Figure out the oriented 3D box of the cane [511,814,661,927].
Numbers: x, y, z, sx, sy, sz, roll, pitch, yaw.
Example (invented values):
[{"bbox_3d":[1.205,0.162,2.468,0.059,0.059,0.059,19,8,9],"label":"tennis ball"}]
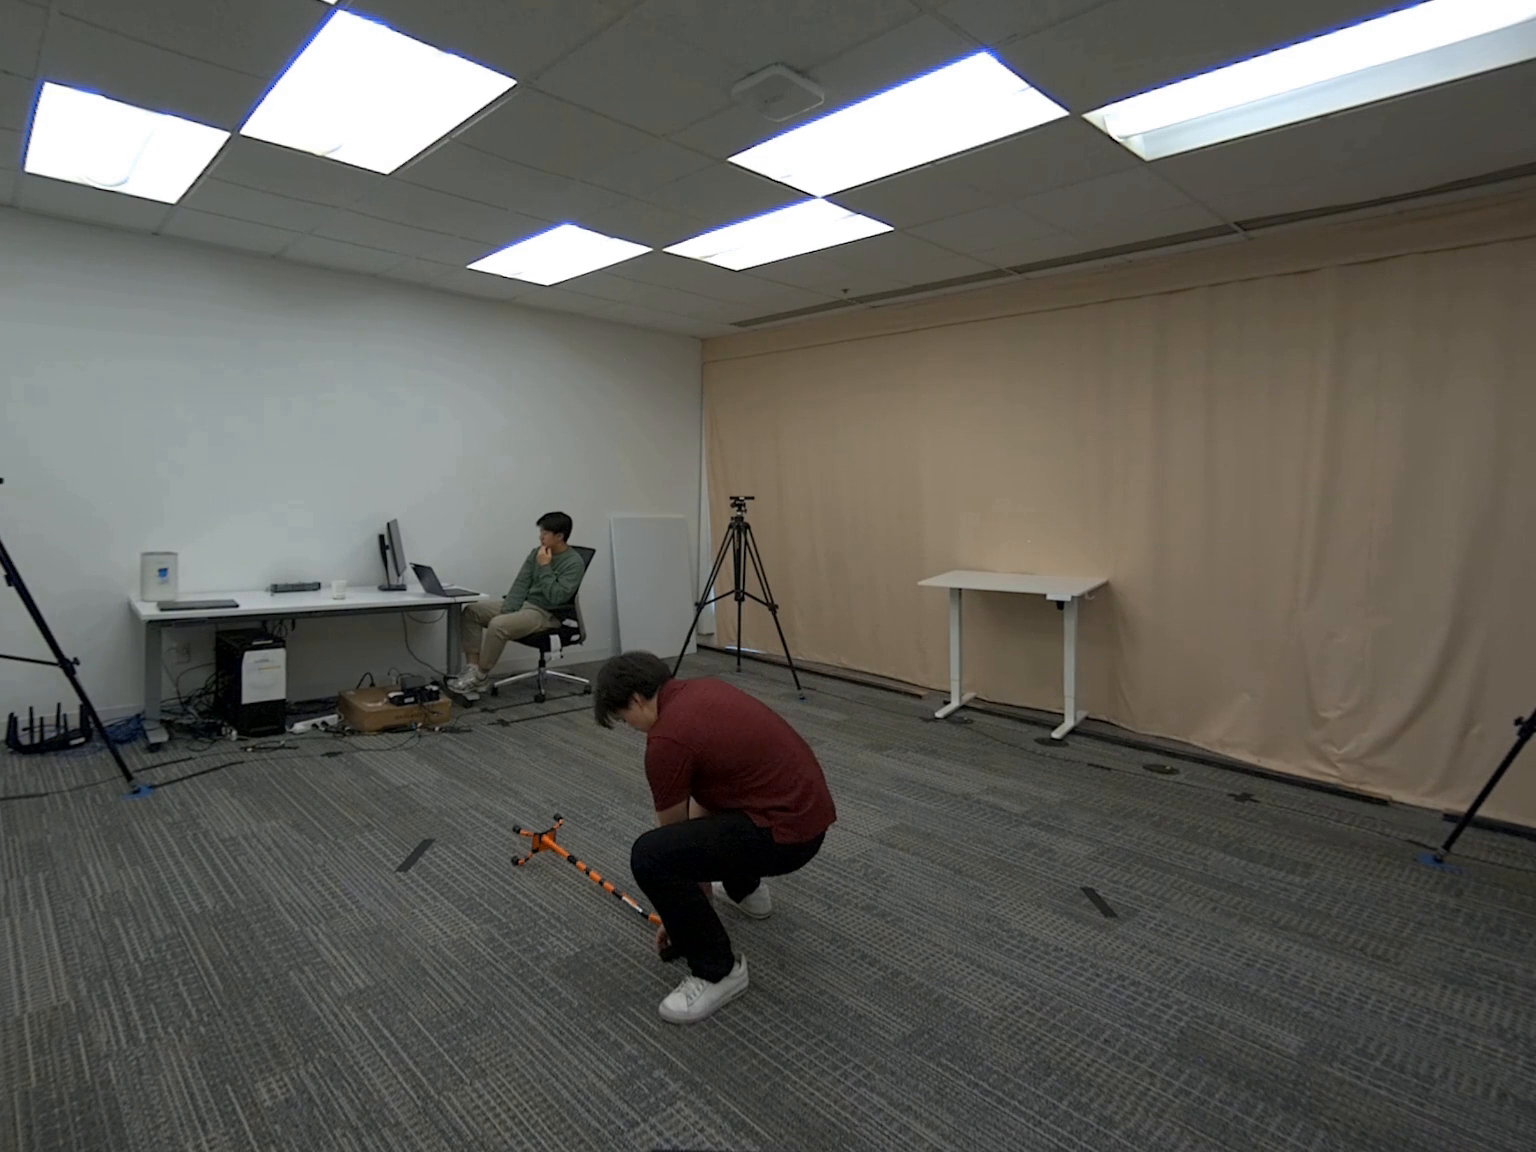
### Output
[{"bbox_3d":[-0.573,1.070,2.893,0.202,0.151,0.933,-5,13,-43],"label":"cane"}]
